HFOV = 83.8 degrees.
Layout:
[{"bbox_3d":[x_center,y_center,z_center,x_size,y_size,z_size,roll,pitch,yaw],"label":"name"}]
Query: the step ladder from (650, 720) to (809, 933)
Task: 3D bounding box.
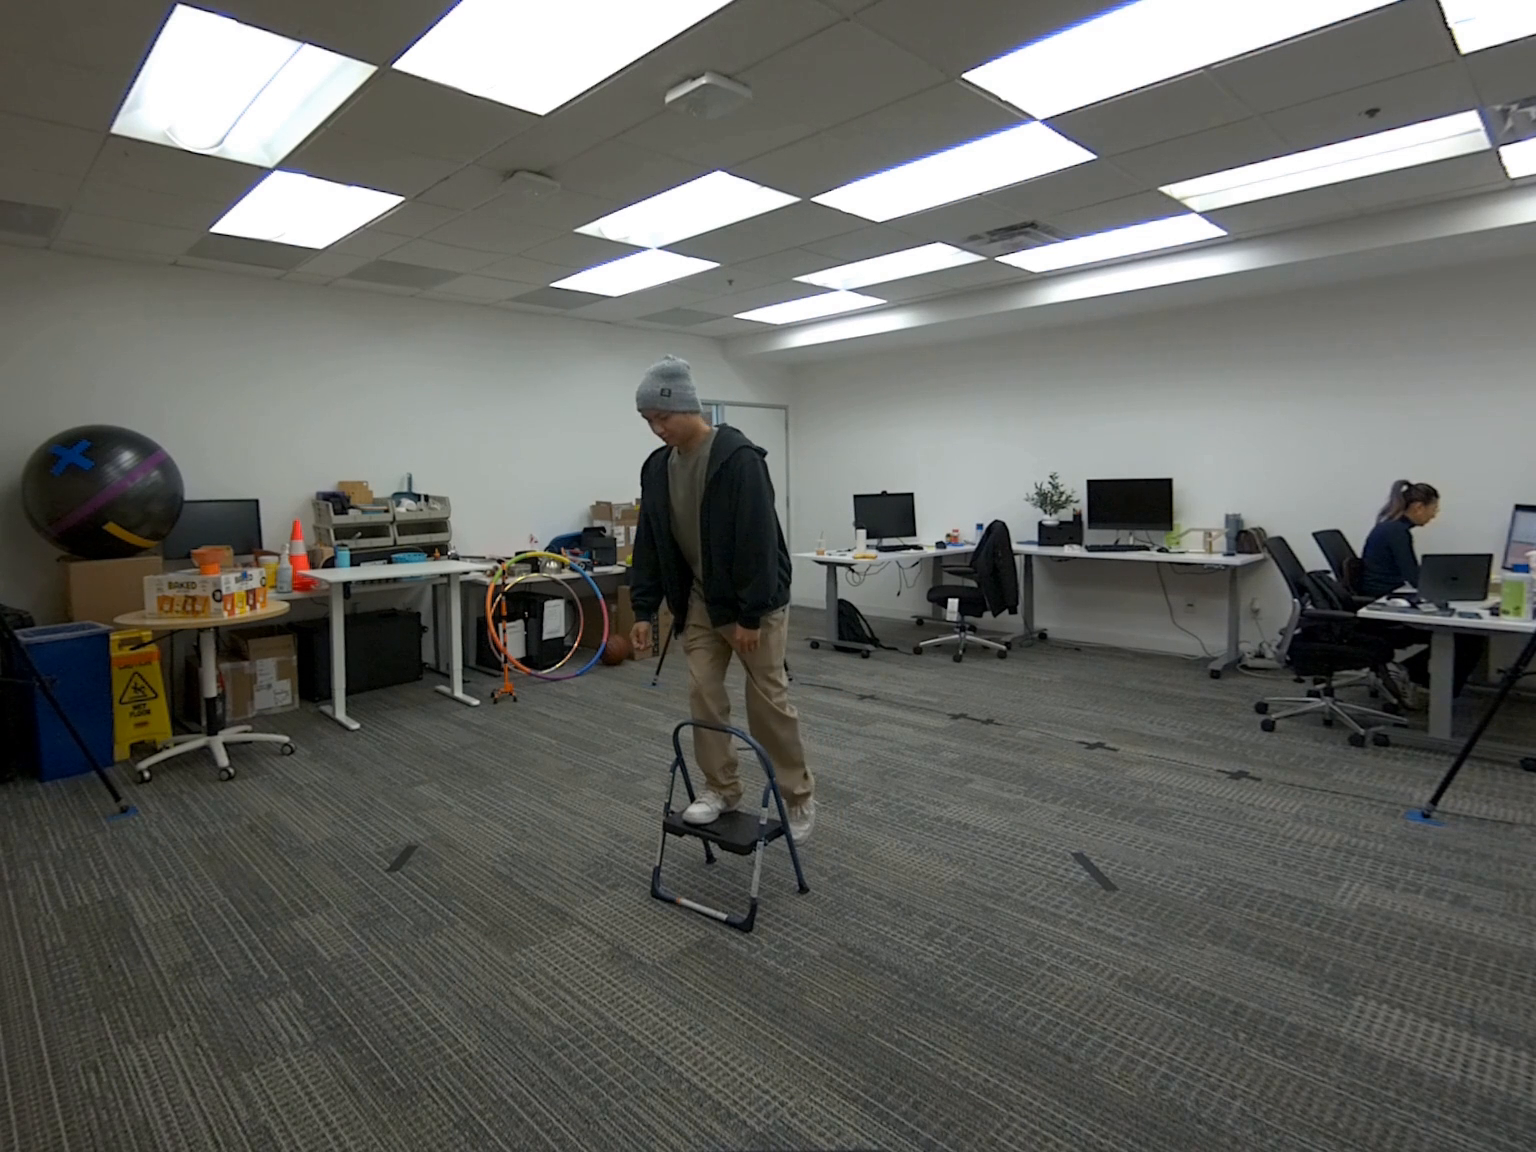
[{"bbox_3d":[-0.137,0.773,2.865,0.443,0.604,0.341,2,5,35],"label":"step ladder"}]
